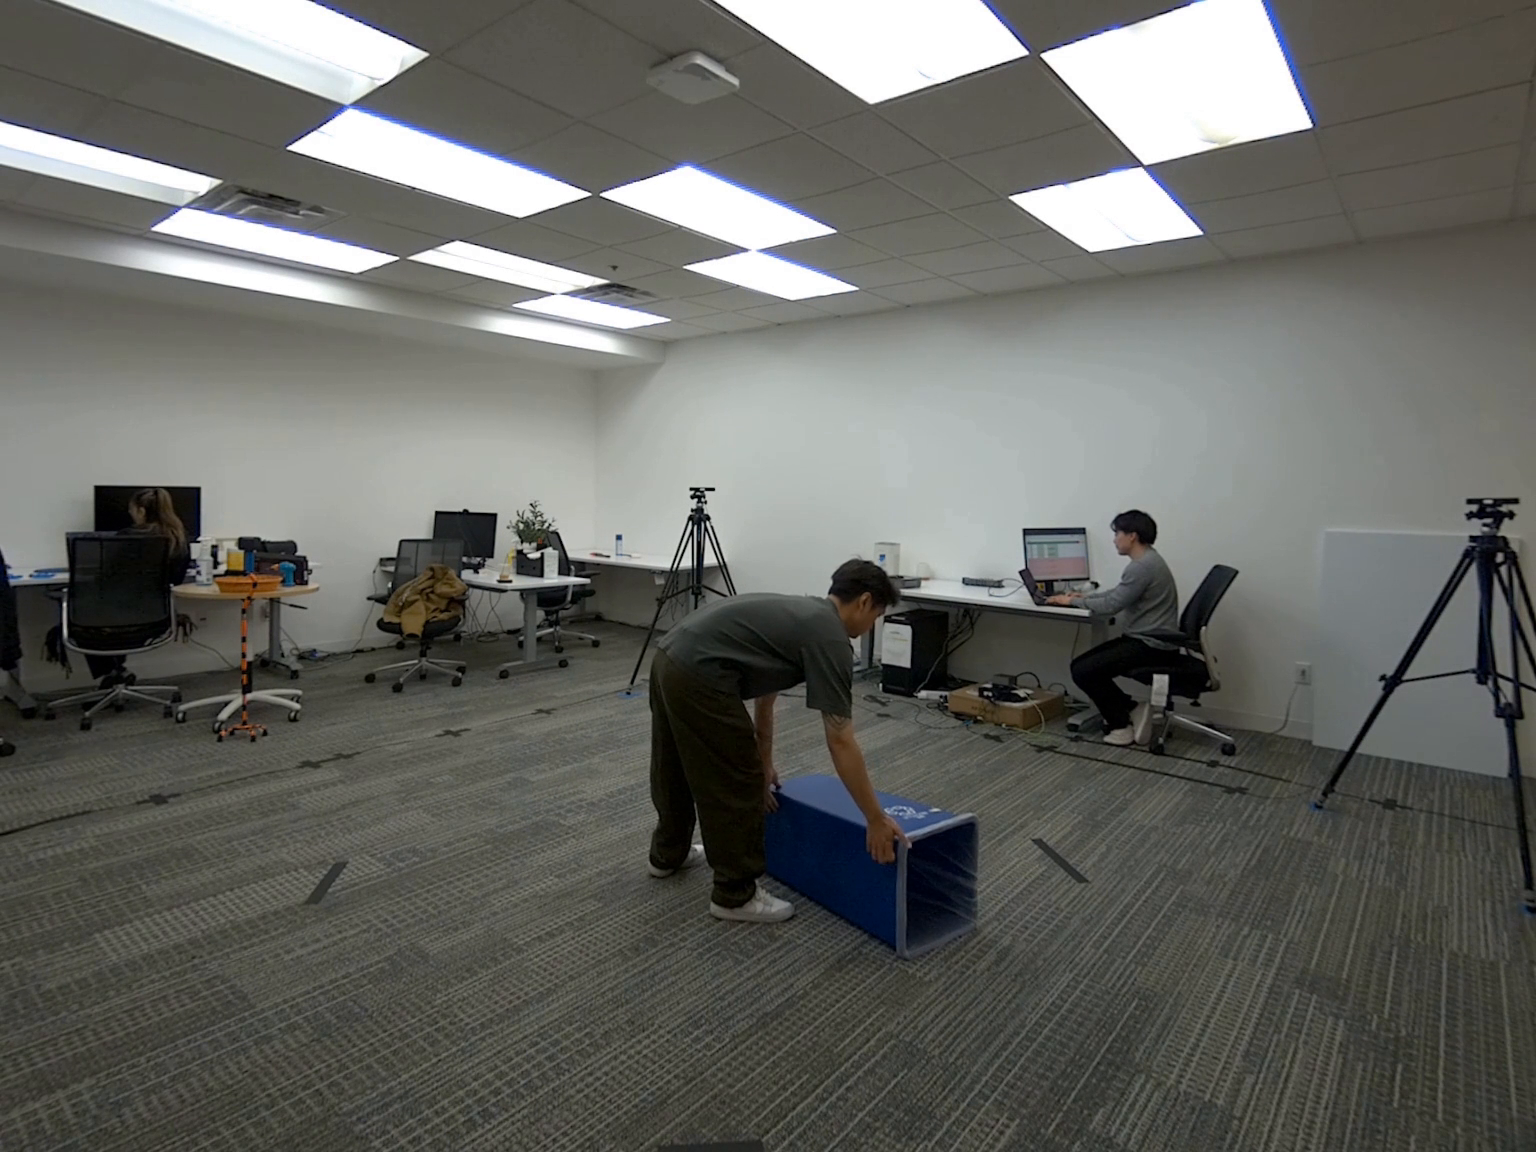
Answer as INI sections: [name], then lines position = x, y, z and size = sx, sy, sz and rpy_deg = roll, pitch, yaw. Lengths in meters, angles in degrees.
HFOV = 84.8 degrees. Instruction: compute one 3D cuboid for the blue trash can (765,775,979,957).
[blue trash can]
position = 0.303, 0.925, 2.900
size = 0.367, 0.373, 0.737
rpy_deg = -2, 4, -39
